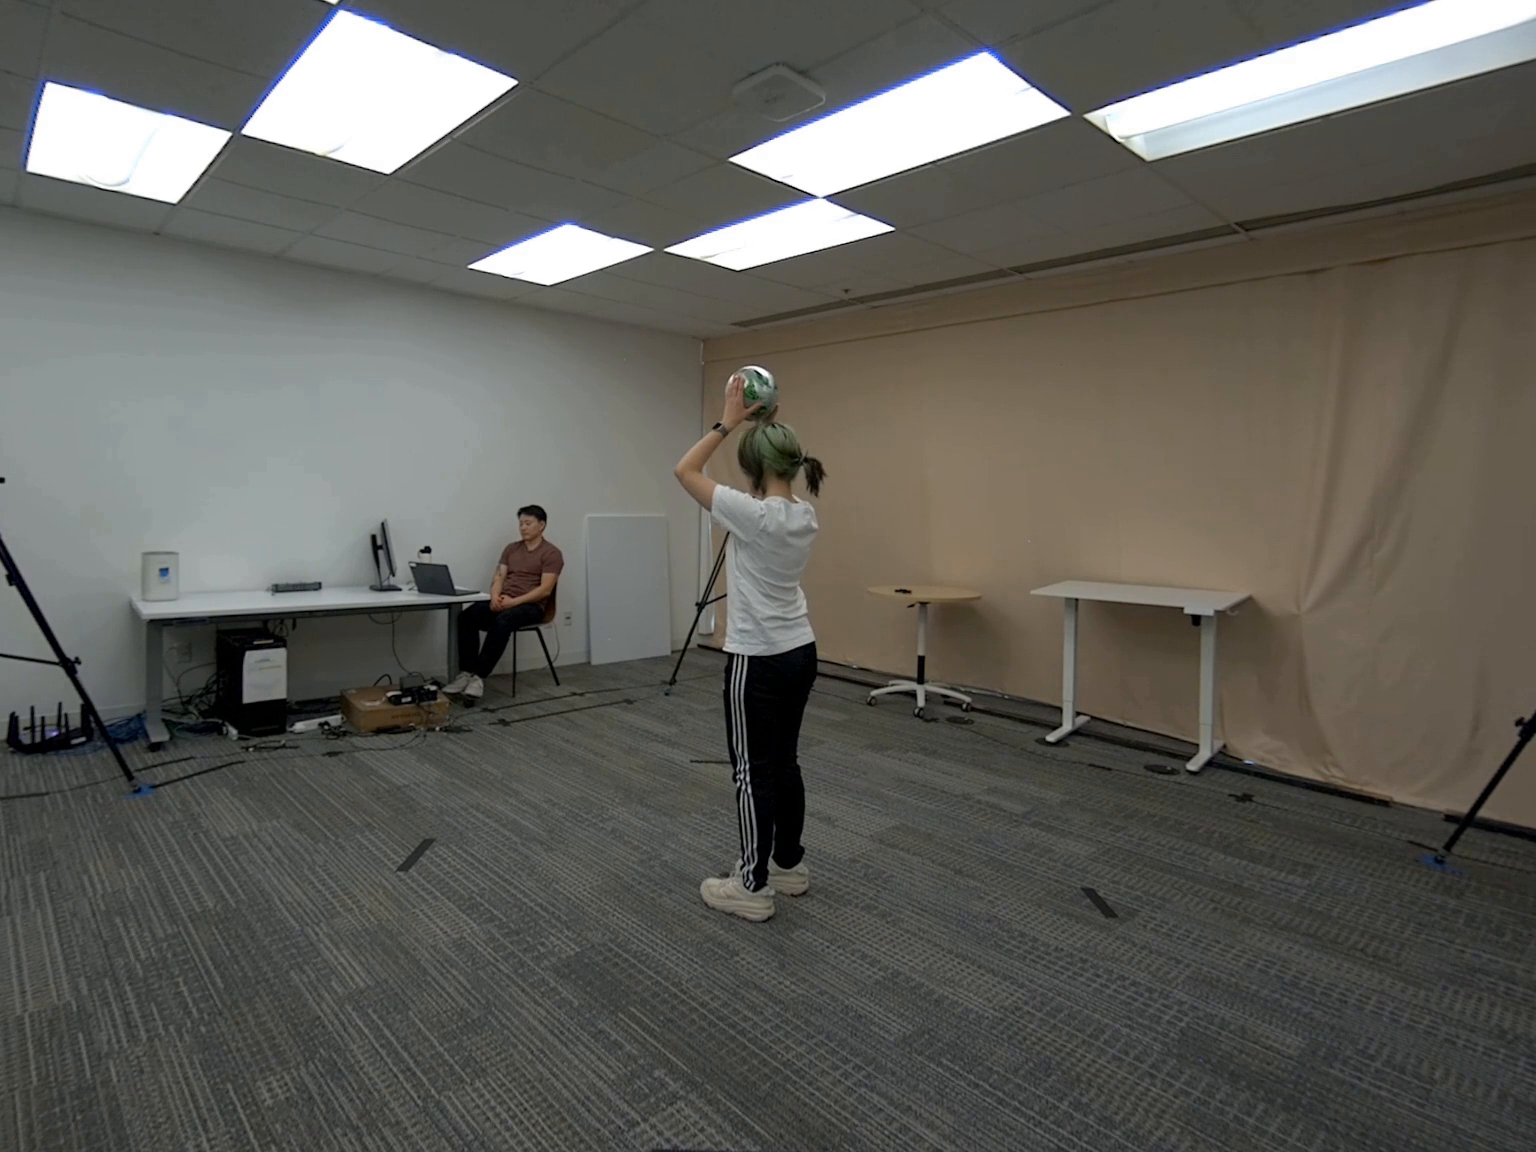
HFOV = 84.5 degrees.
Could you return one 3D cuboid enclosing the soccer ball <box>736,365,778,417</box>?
[{"bbox_3d":[-0.068,-0.630,2.920,0.187,0.187,0.188,1,4,-1],"label":"soccer ball"}]
